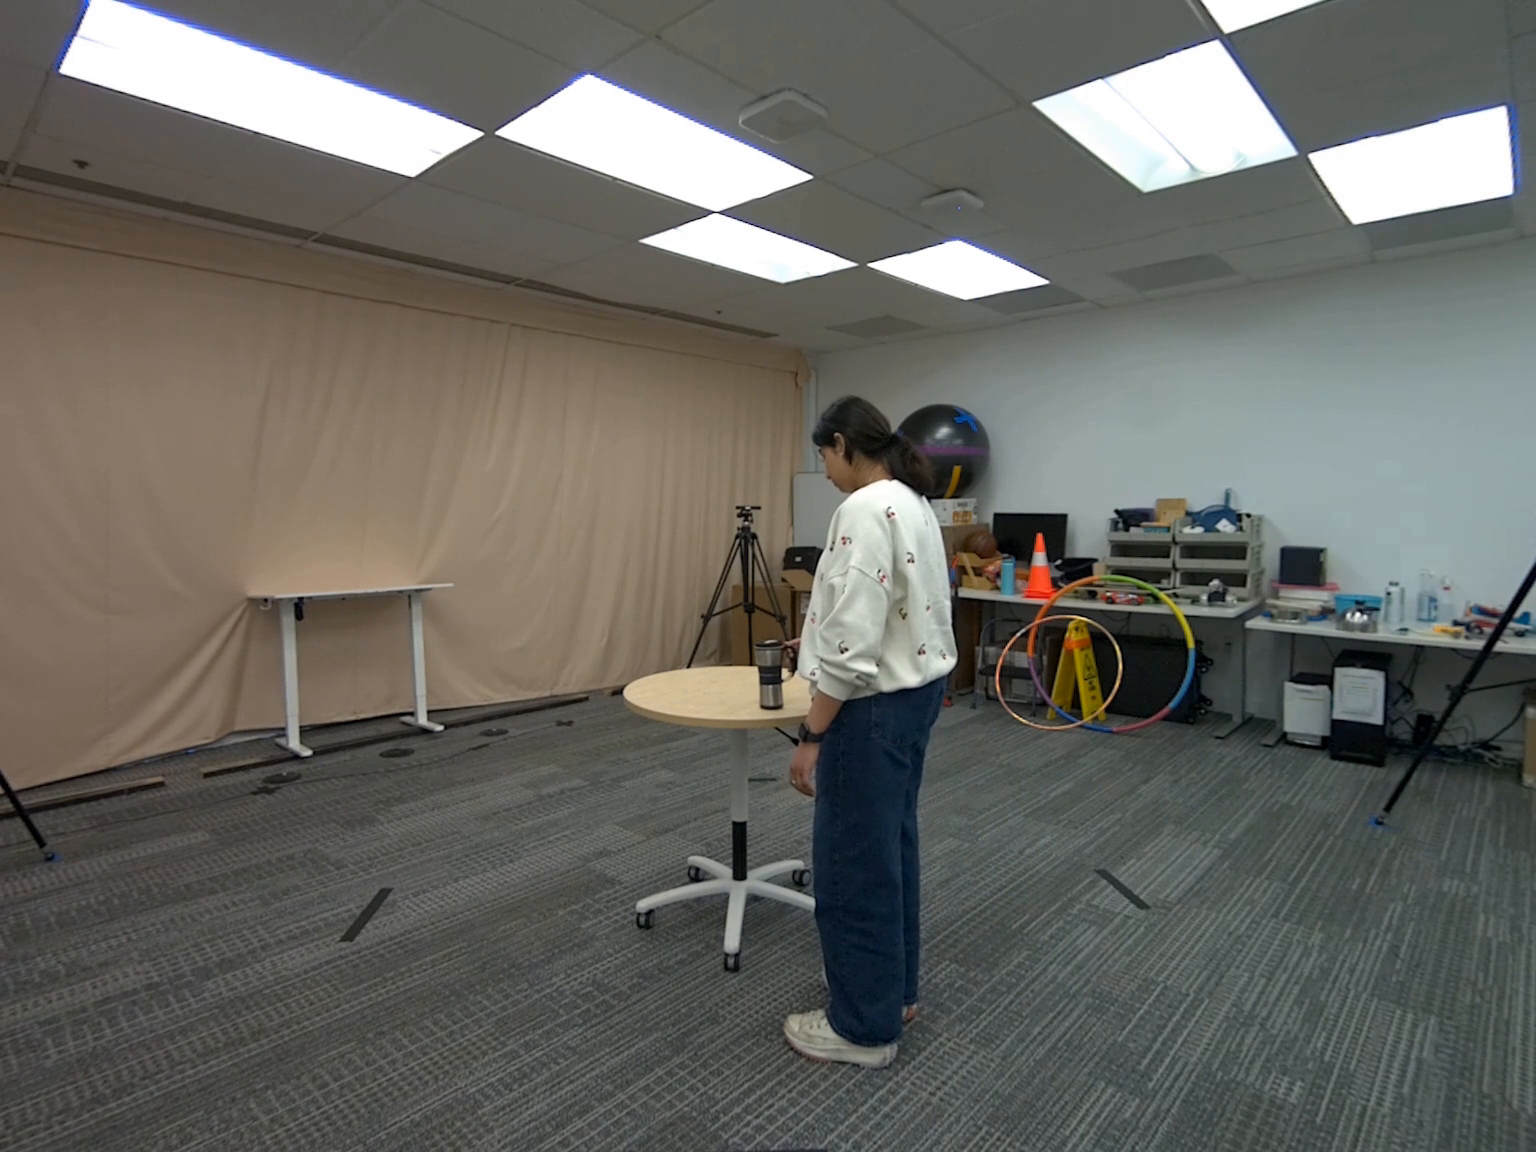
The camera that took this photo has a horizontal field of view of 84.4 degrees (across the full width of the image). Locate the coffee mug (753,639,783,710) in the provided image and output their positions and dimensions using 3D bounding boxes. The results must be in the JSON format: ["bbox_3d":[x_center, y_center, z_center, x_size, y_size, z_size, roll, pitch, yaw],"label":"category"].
[{"bbox_3d":[0.029,0.303,2.534,0.085,0.203,0.126,1,-1,-42],"label":"coffee mug"}]
